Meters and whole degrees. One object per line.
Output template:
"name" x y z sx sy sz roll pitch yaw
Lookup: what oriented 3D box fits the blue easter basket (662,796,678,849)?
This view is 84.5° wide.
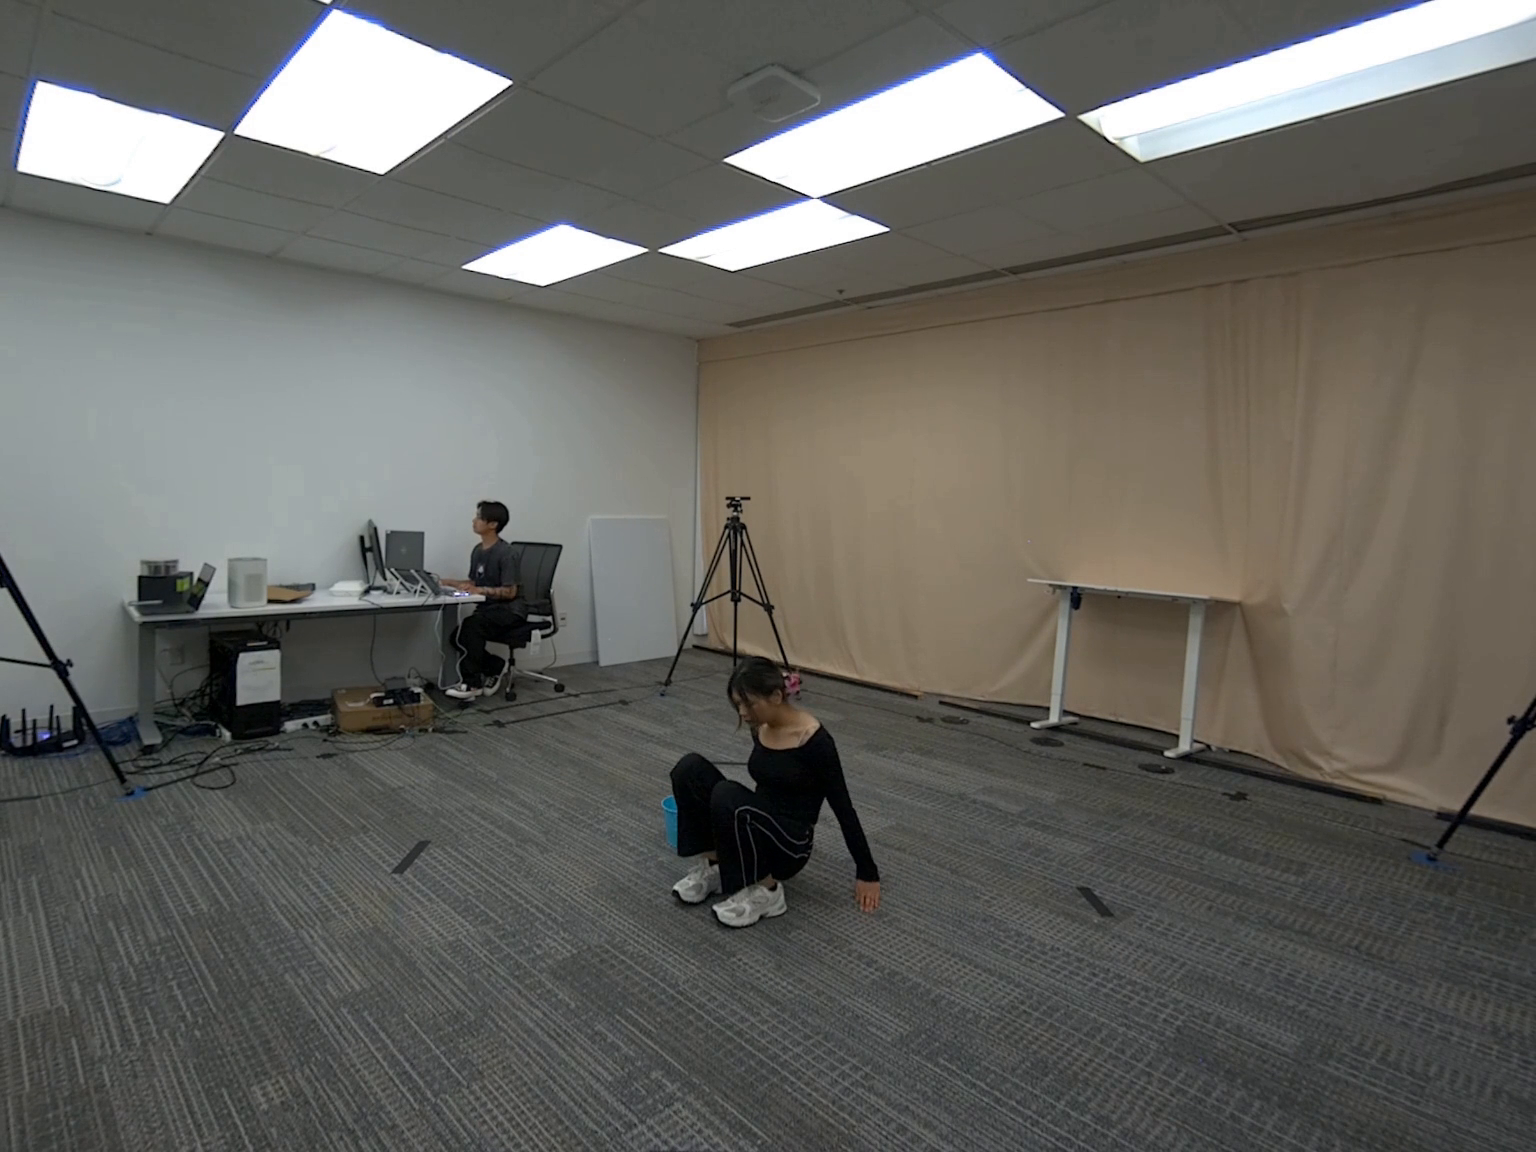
"blue easter basket" -0.313 0.997 3.422 0.243 0.155 0.244 1 4 -1
